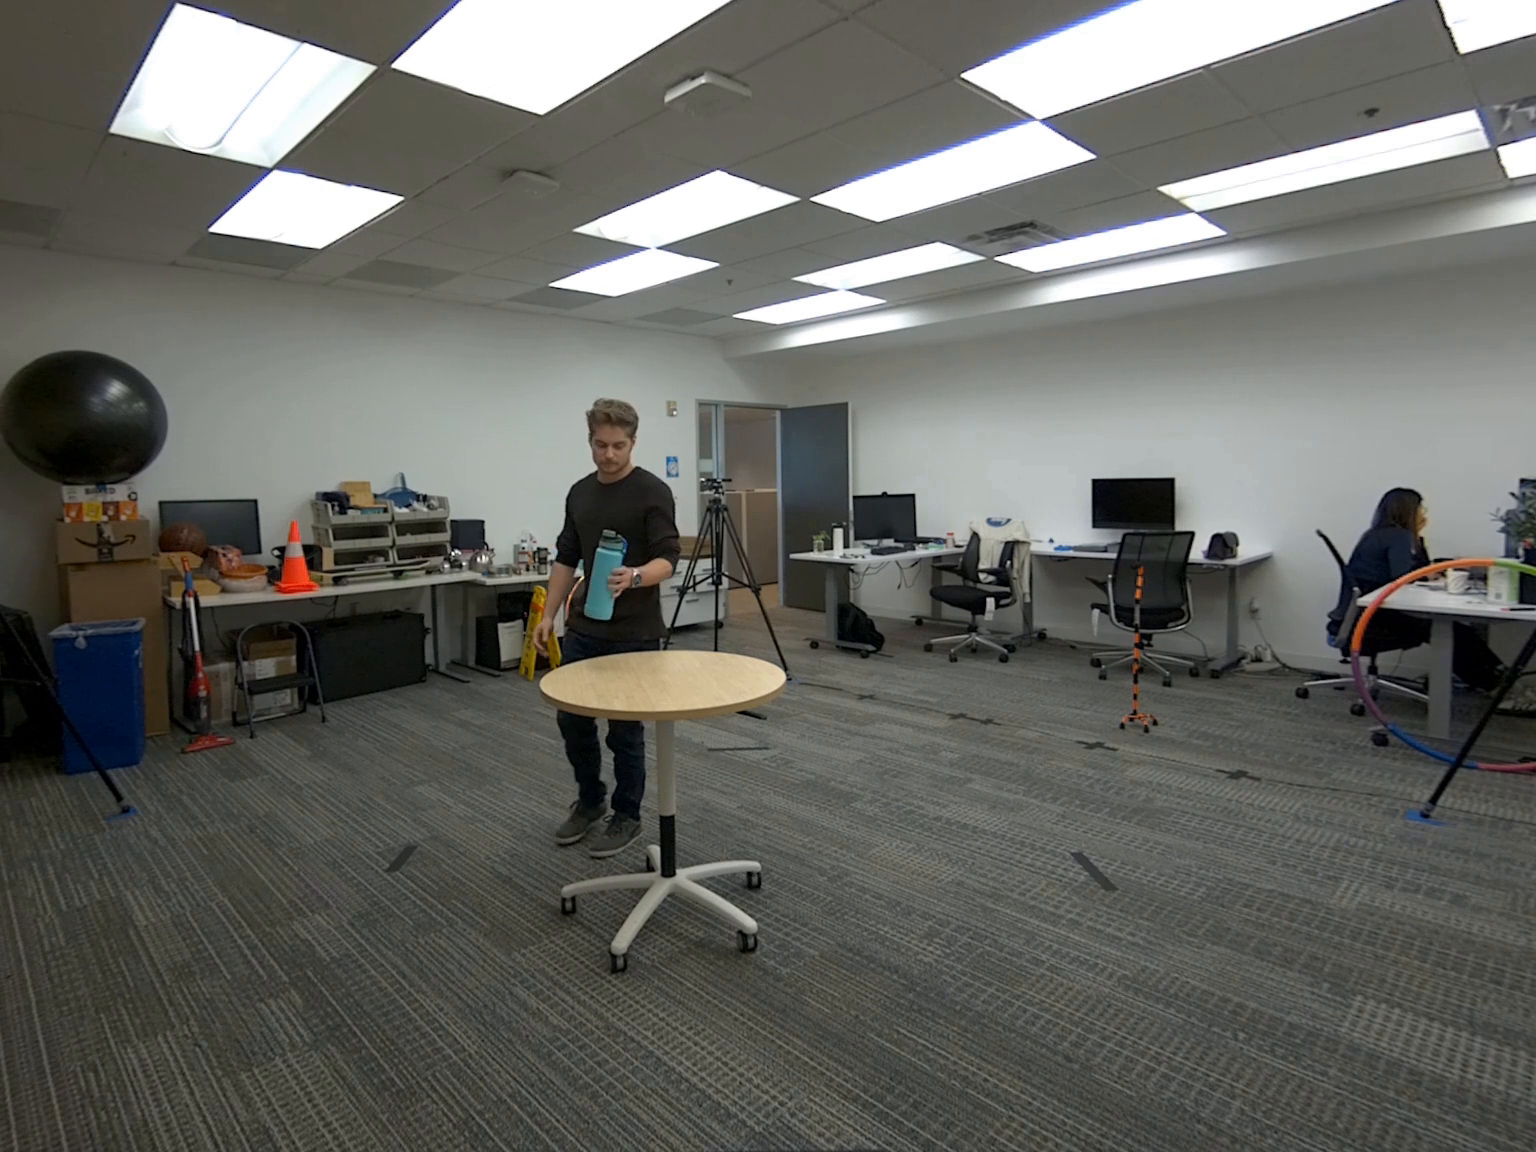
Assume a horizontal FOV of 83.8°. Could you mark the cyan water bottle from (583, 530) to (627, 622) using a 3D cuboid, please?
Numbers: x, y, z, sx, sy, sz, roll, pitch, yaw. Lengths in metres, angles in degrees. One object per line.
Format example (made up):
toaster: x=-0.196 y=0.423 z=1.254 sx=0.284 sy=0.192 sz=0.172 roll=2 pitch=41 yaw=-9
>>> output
cyan water bottle: x=-0.531 y=-0.003 z=2.787 sx=0.092 sy=0.282 sz=0.093 roll=13 pitch=6 yaw=-3
